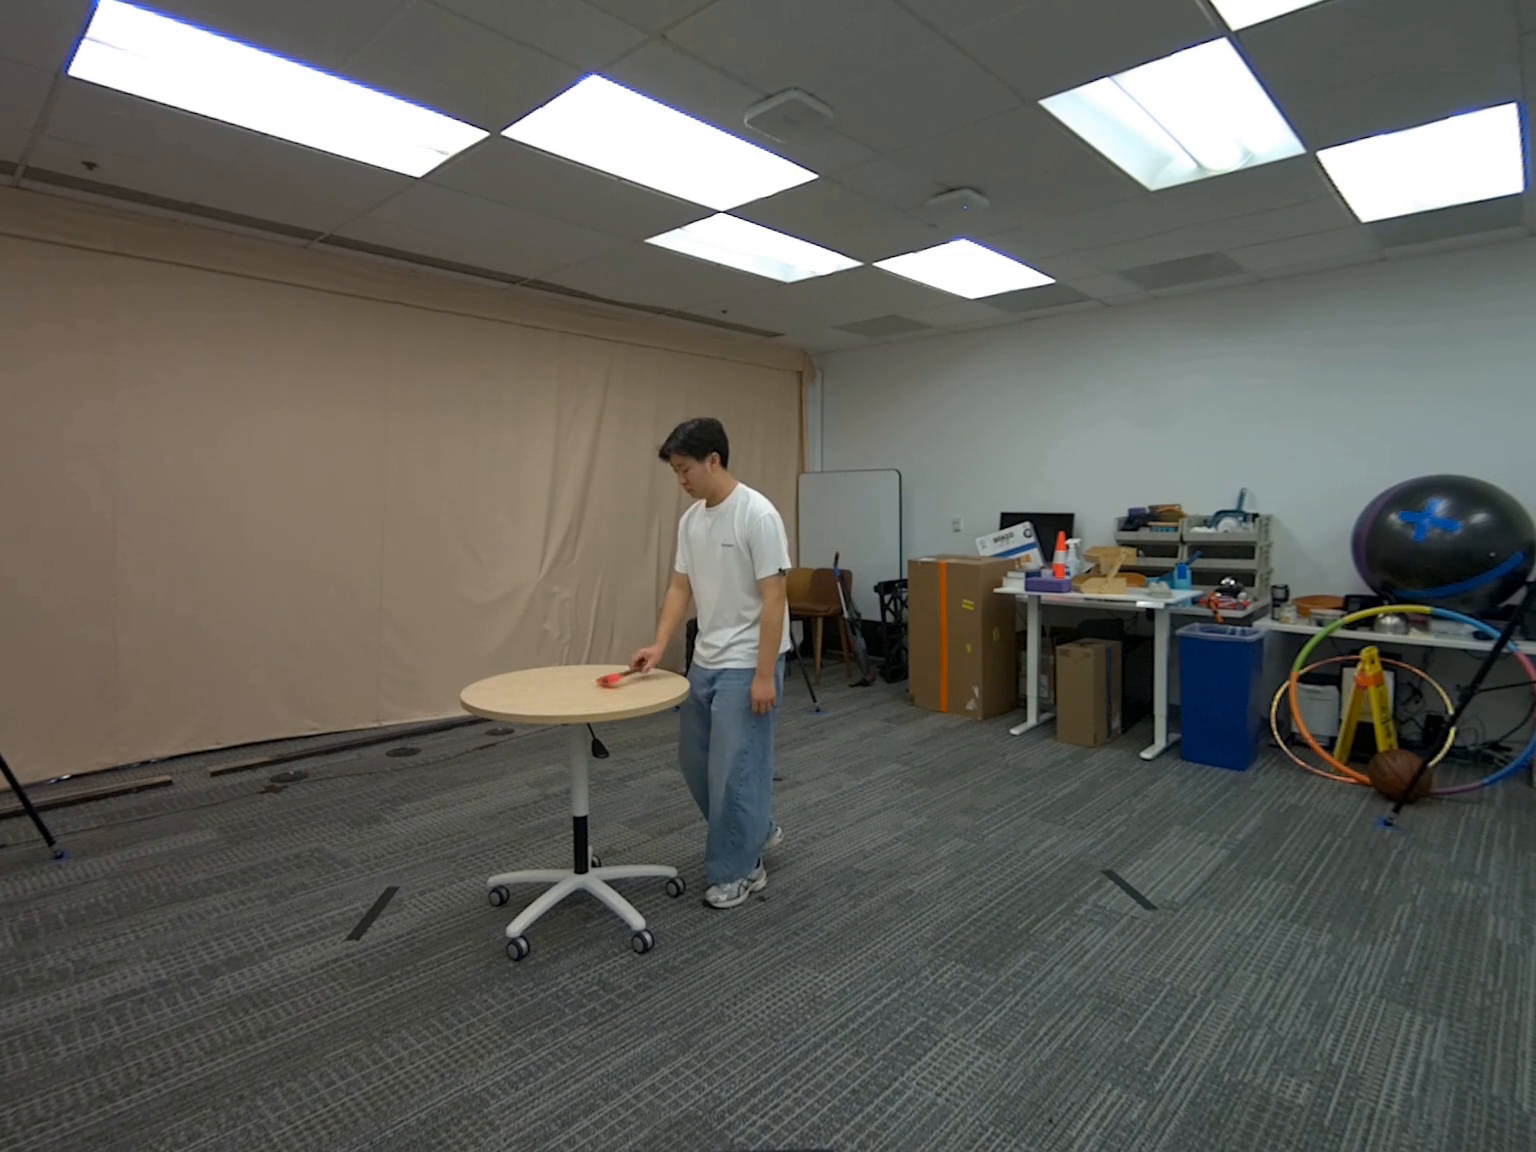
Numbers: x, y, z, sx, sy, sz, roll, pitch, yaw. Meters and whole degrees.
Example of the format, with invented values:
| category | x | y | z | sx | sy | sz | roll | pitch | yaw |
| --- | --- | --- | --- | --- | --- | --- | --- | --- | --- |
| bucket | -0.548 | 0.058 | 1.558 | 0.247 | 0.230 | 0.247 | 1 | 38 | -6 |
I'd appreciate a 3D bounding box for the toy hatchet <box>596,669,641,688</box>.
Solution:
| category | x | y | z | sx | sy | sz | roll | pitch | yaw |
| --- | --- | --- | --- | --- | --- | --- | --- | --- | --- |
| toy hatchet | -0.511 | 0.294 | 2.943 | 0.133 | 0.029 | 0.266 | -24 | 2 | 23 |
